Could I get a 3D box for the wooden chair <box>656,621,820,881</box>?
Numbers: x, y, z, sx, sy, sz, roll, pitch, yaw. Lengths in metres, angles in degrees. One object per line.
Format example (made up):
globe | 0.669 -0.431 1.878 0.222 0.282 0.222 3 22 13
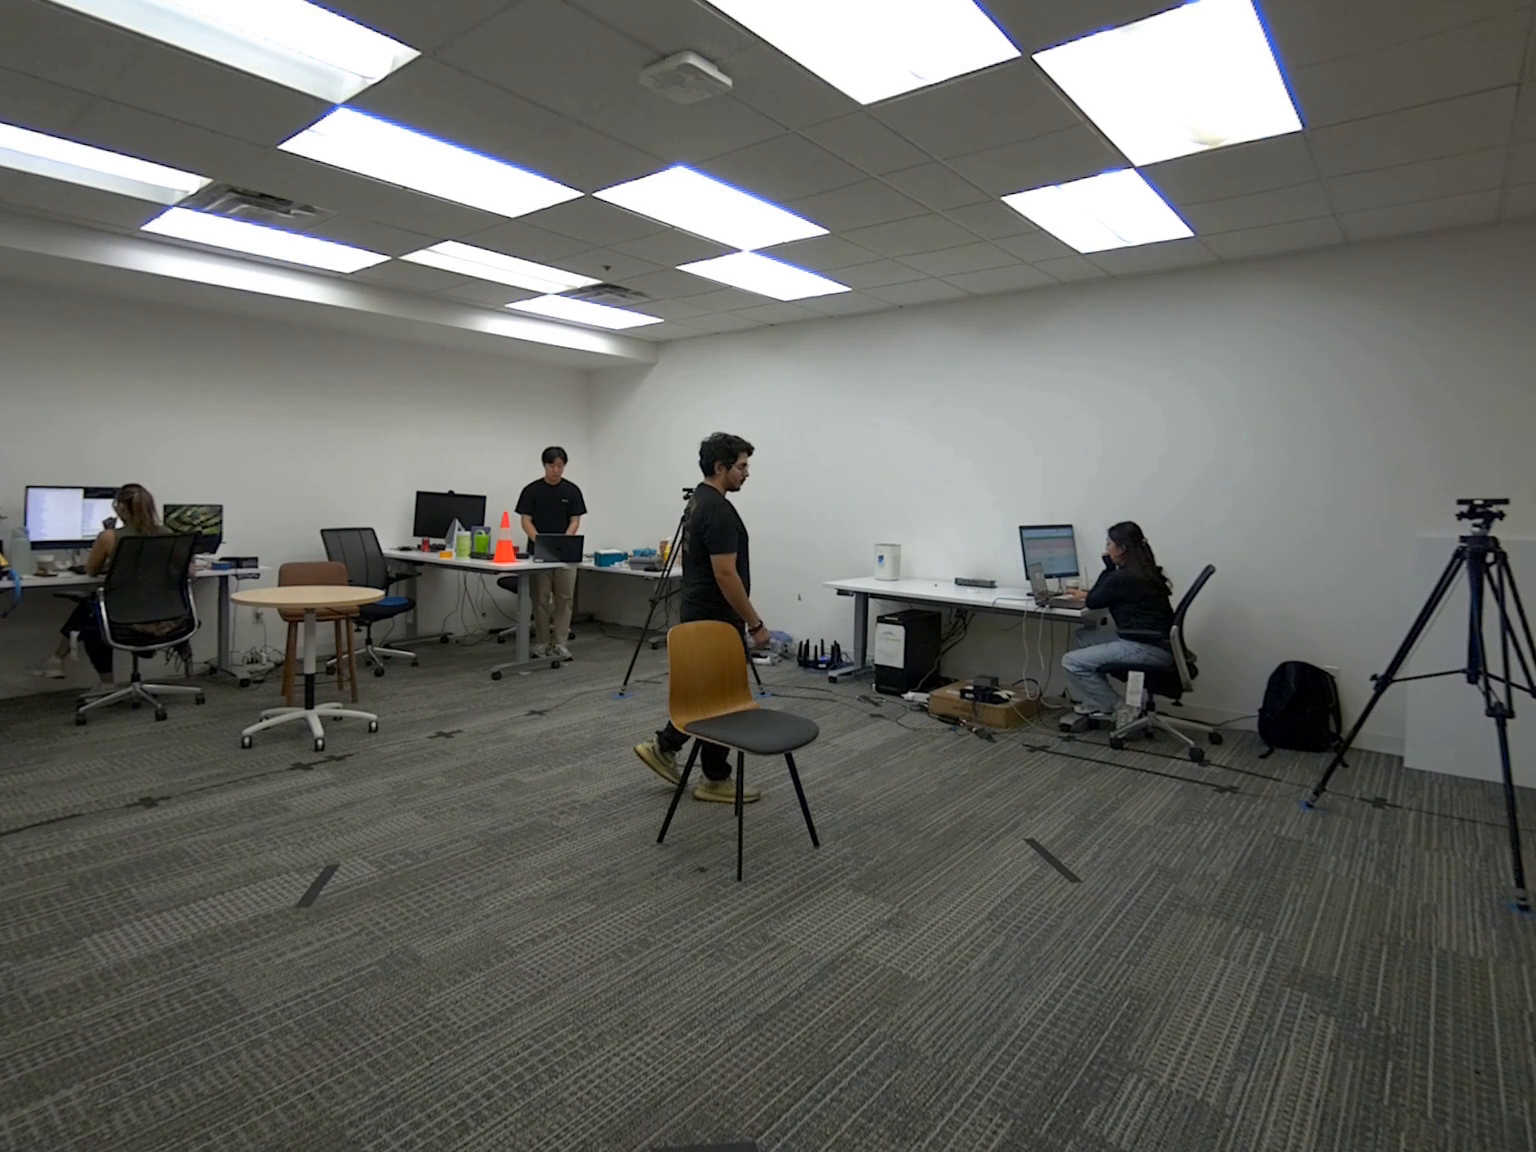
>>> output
wooden chair | -0.111 0.626 3.297 0.539 0.878 0.463 -2 0 44
